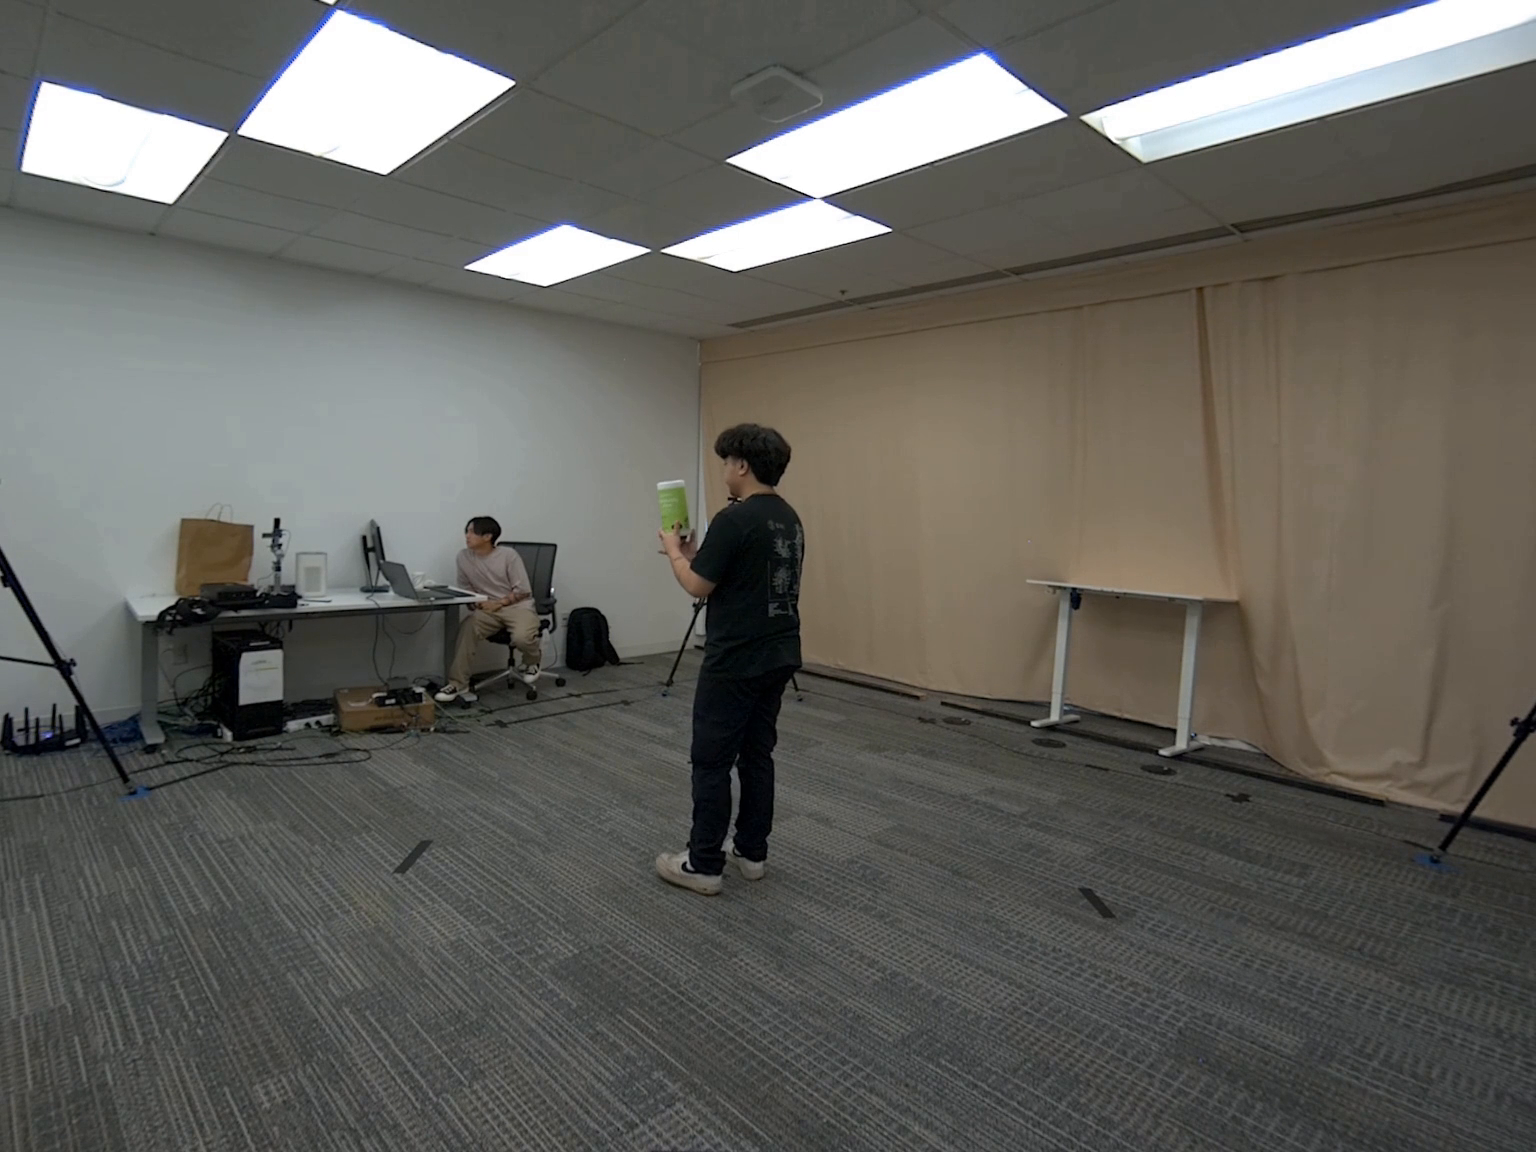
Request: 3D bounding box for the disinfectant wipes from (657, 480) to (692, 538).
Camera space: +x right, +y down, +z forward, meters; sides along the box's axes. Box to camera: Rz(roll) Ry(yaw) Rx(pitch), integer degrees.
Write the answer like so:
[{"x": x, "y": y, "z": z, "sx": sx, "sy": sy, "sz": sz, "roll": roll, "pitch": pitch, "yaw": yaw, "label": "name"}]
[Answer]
[{"x": -0.368, "y": -0.258, "z": 3.266, "sx": 0.118, "sy": 0.216, "sz": 0.118, "roll": -7, "pitch": 5, "yaw": -1, "label": "disinfectant wipes"}]
